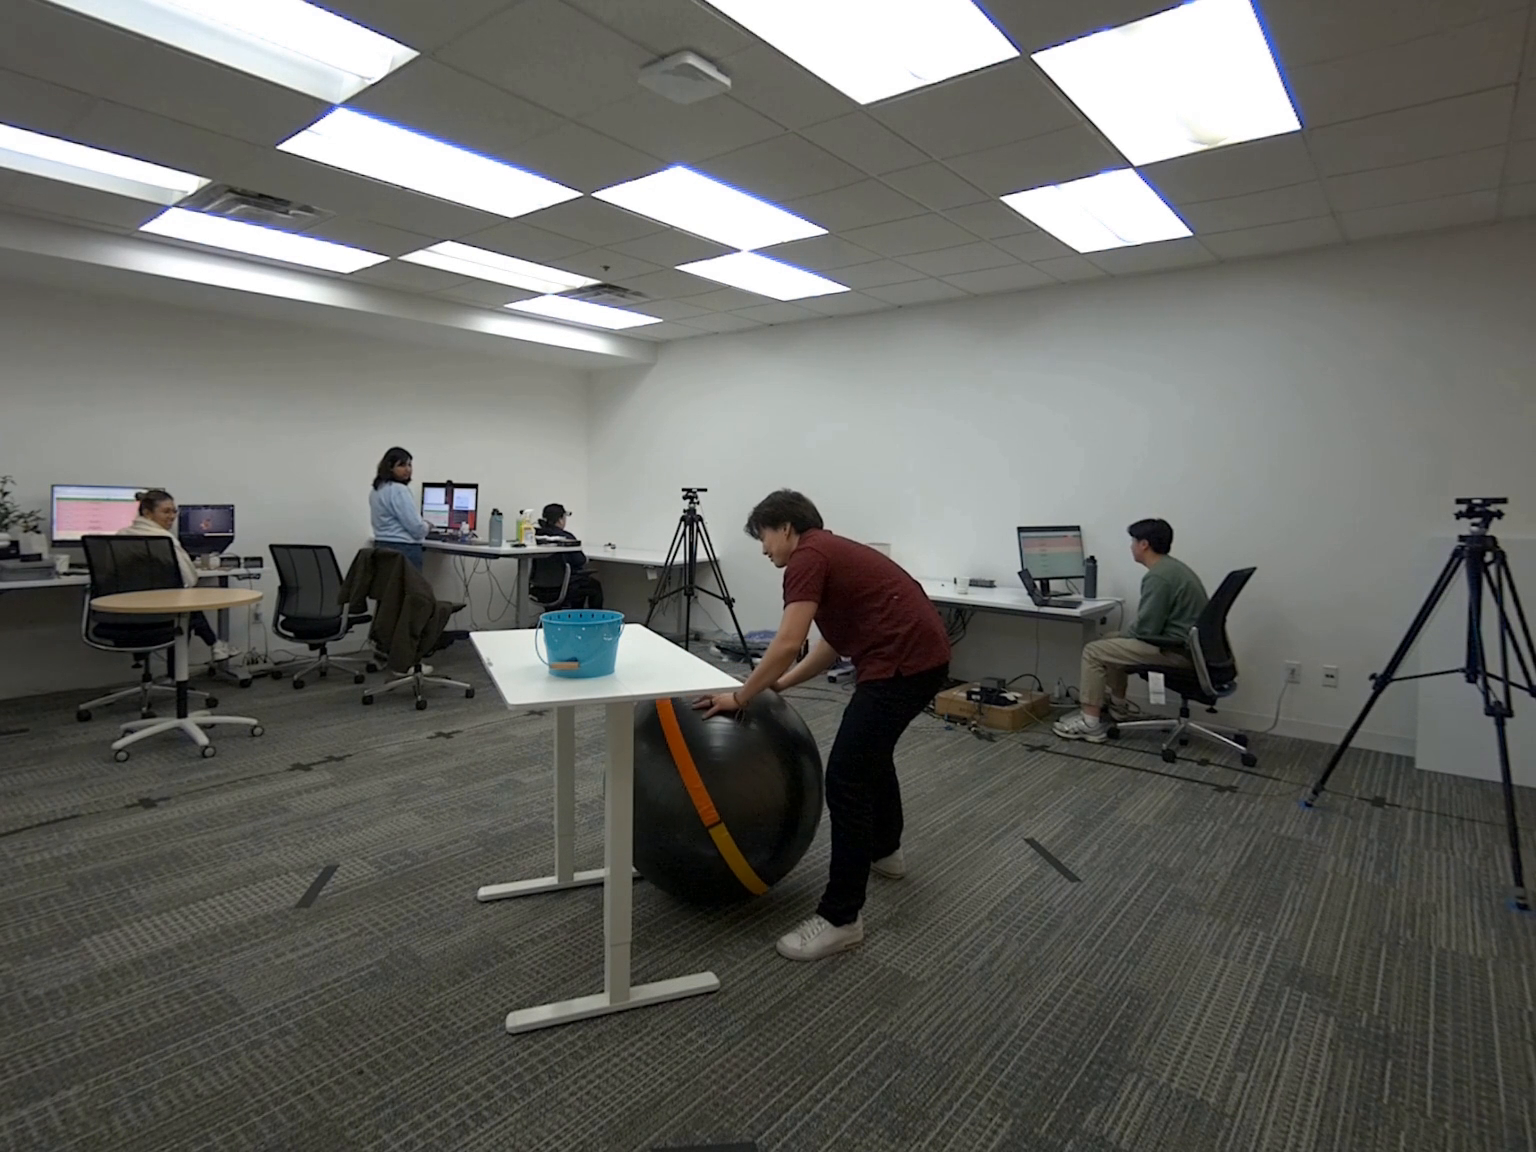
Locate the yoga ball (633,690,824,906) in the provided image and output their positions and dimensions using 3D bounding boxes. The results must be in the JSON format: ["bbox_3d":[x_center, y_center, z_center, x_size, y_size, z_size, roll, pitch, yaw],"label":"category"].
[{"bbox_3d":[-0.191,0.722,2.939,0.757,0.756,0.762,1,4,-2],"label":"yoga ball"}]
